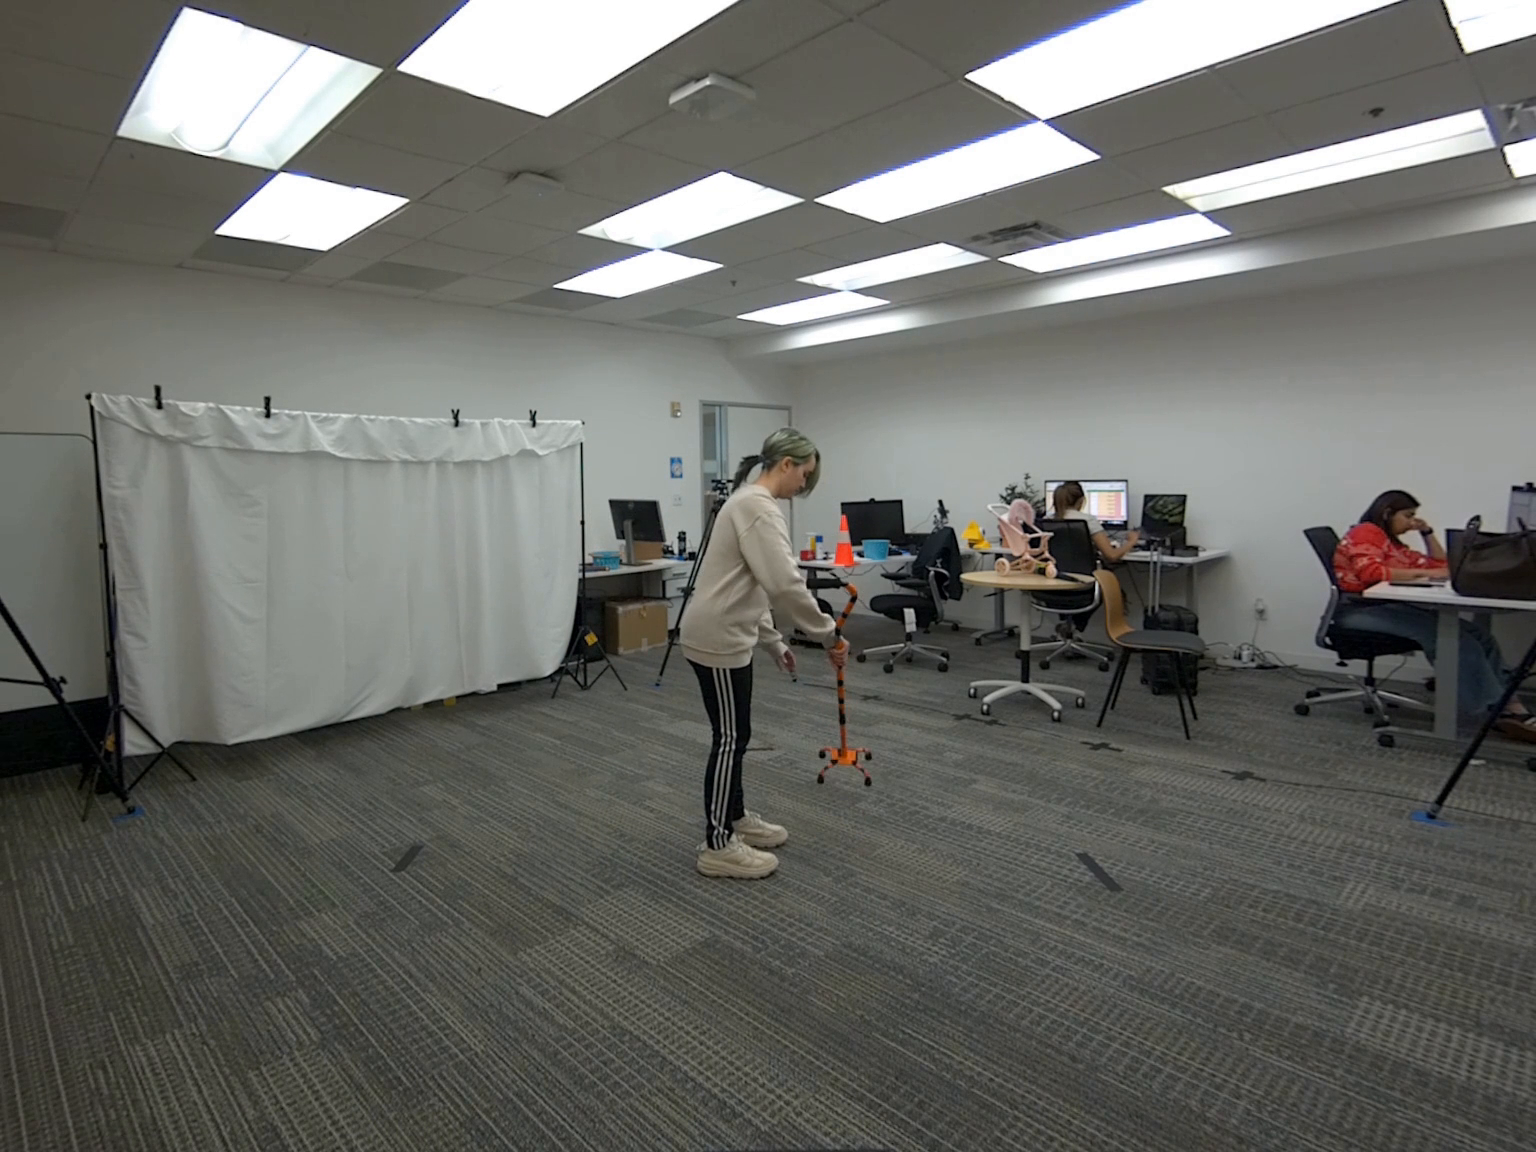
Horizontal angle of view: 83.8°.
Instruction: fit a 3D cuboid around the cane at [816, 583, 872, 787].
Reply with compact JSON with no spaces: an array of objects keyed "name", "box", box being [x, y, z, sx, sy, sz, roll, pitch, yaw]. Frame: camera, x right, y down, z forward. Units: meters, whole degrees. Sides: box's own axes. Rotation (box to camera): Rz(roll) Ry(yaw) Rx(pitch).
[{"name":"cane","box":[0.262,0.384,3.013,0.209,0.883,0.154,1,34,10]}]
